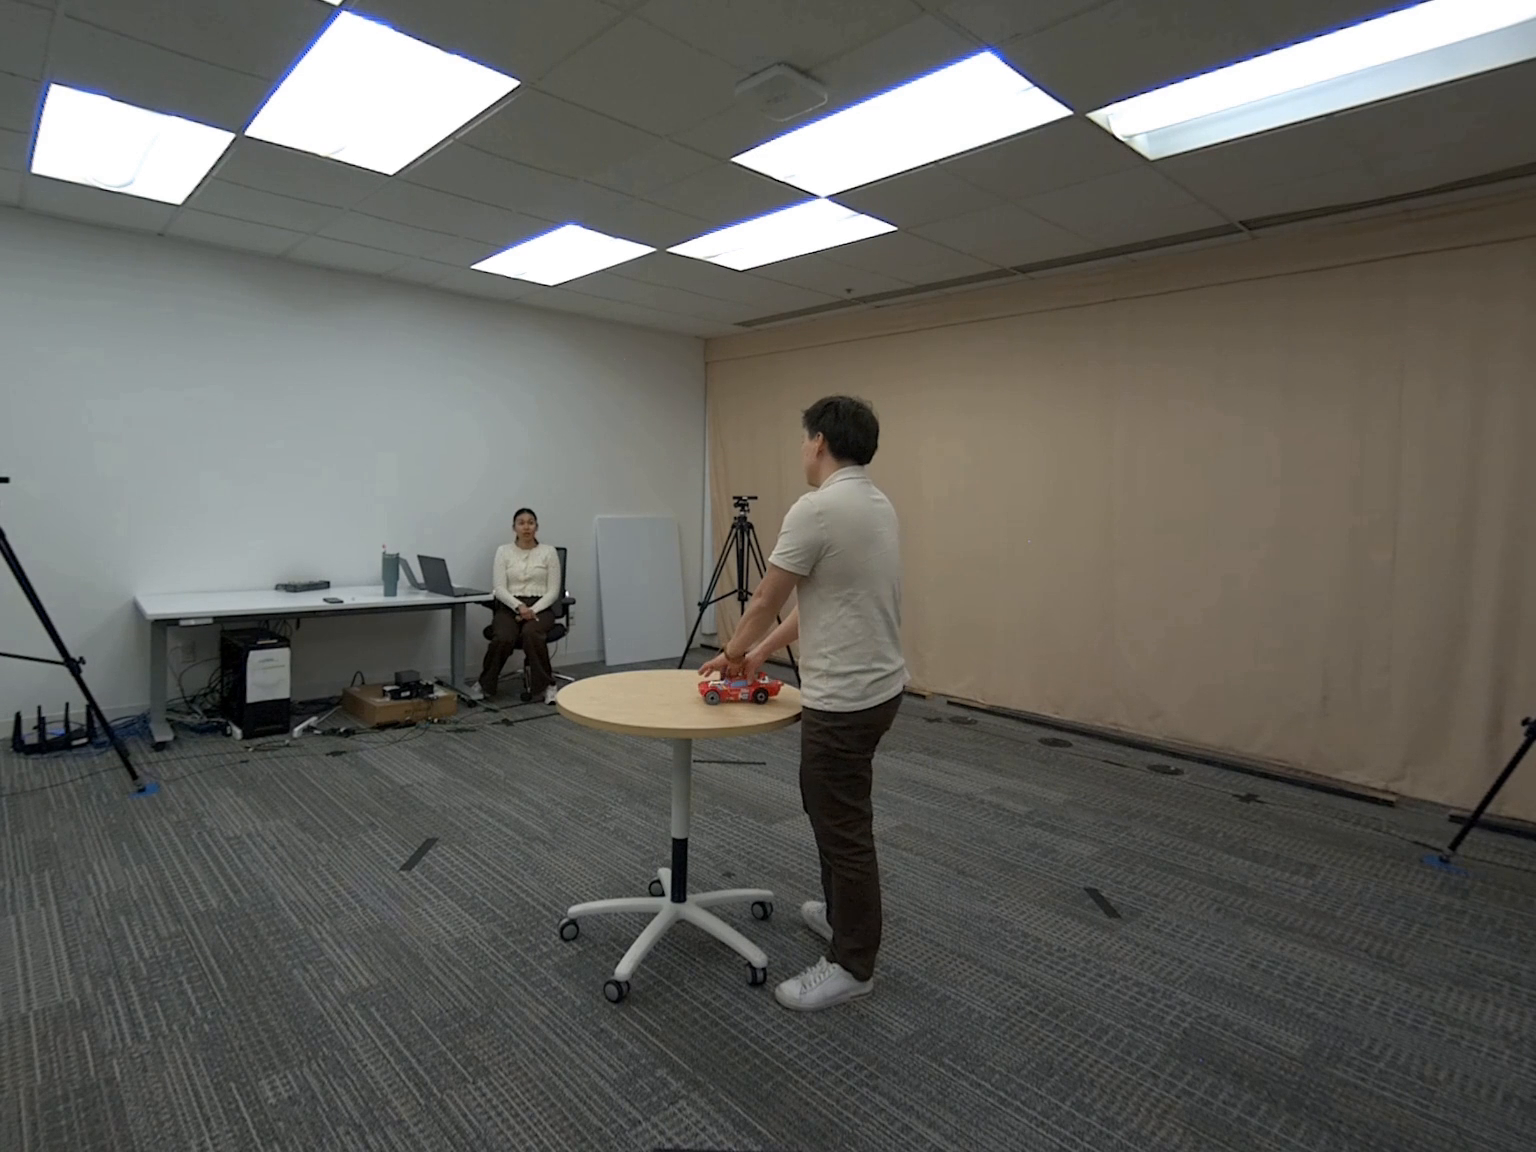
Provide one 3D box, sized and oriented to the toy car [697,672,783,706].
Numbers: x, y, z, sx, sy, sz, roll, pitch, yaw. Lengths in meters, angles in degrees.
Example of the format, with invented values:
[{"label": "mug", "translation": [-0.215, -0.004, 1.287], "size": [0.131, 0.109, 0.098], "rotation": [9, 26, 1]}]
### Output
[{"label": "toy car", "translation": [-0.084, 0.345, 2.521], "size": [0.254, 0.083, 0.131], "rotation": [-10, 6, -4]}]
